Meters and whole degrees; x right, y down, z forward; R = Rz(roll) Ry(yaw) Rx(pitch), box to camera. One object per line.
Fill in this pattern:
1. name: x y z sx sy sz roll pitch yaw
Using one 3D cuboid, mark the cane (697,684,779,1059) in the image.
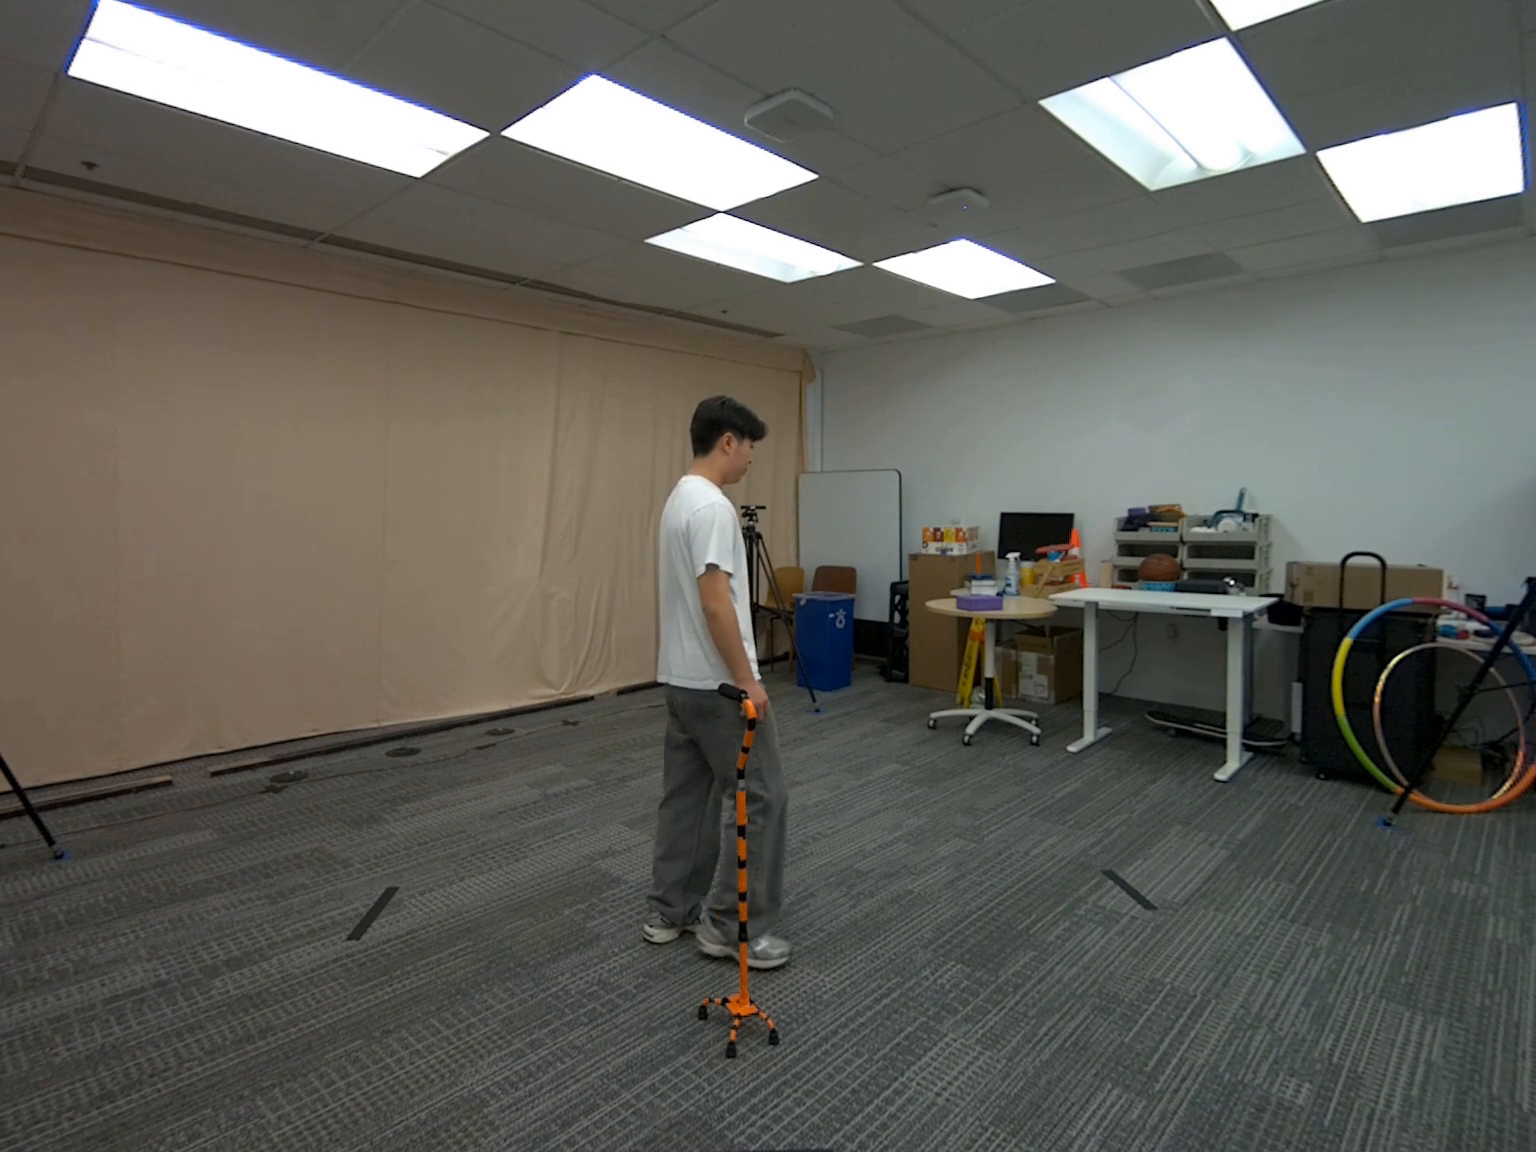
1. cane: -0.080 0.752 2.217 0.148 0.906 0.212 -1 3 -28
